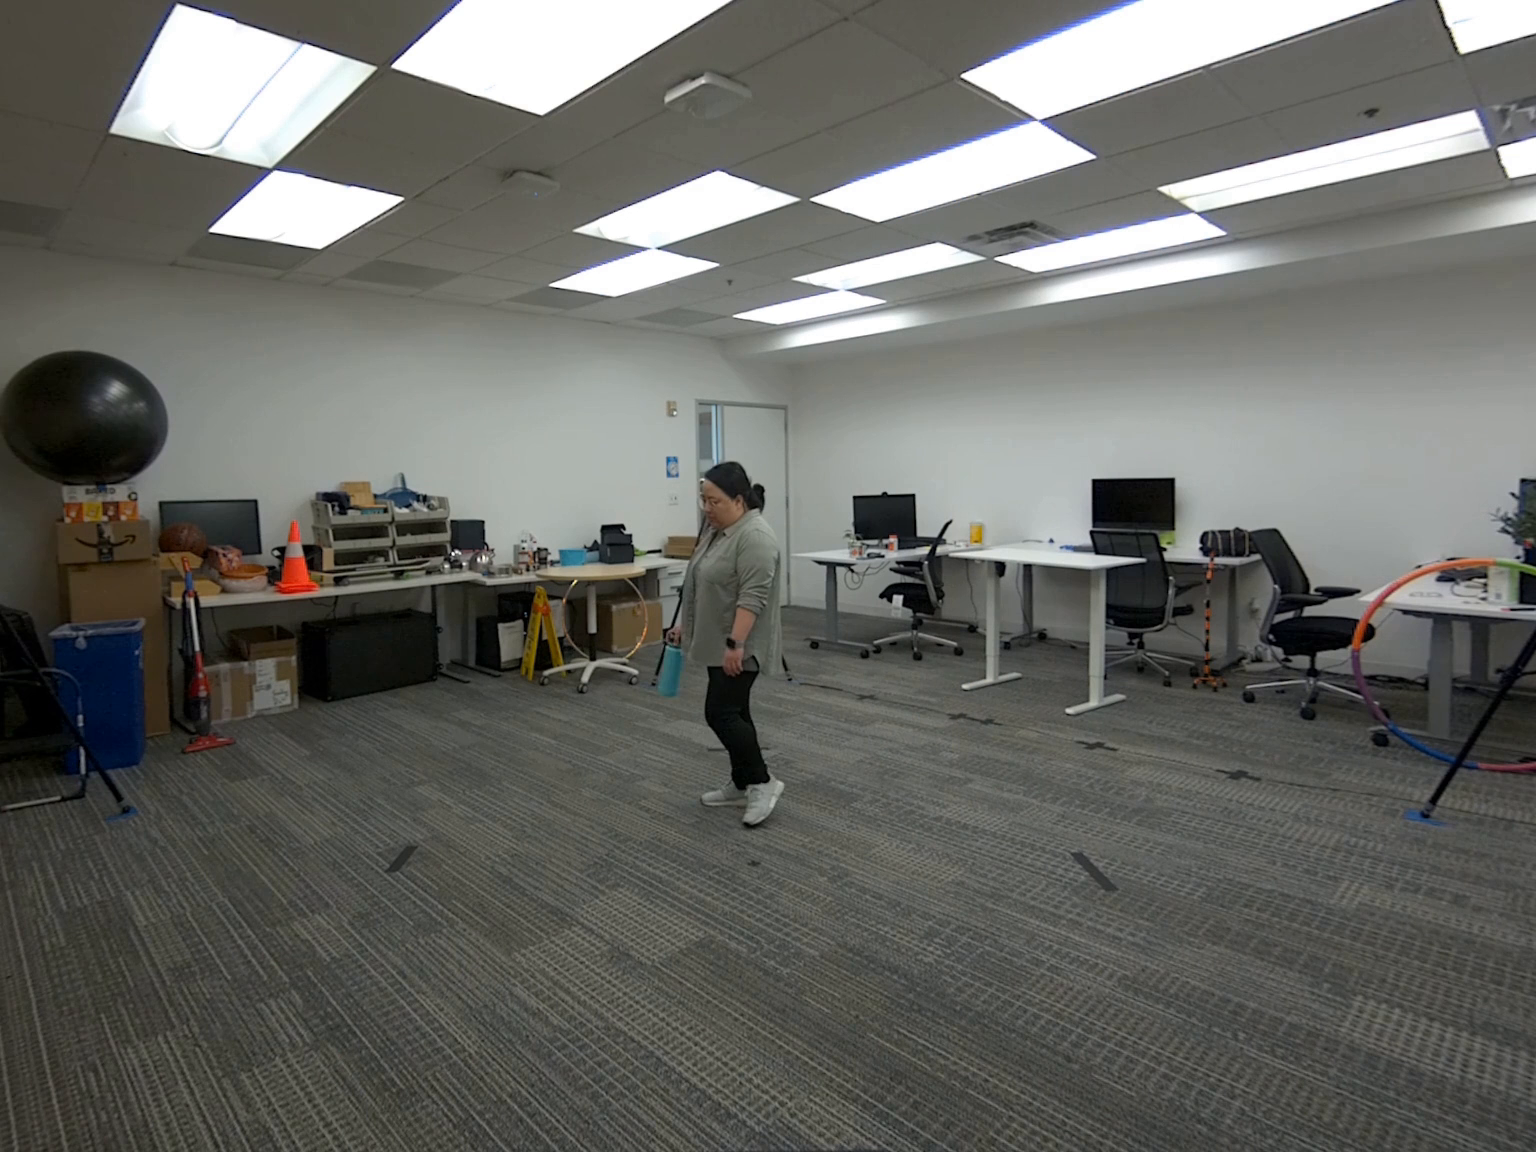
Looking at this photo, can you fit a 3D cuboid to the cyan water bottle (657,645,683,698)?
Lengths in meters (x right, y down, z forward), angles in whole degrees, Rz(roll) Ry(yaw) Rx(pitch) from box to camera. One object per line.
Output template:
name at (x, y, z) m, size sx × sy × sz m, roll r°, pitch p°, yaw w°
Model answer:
cyan water bottle at (-0.421, 0.405, 3.892) m, size 0.092 × 0.281 × 0.093 m, roll 7°, pitch 9°, yaw -3°
